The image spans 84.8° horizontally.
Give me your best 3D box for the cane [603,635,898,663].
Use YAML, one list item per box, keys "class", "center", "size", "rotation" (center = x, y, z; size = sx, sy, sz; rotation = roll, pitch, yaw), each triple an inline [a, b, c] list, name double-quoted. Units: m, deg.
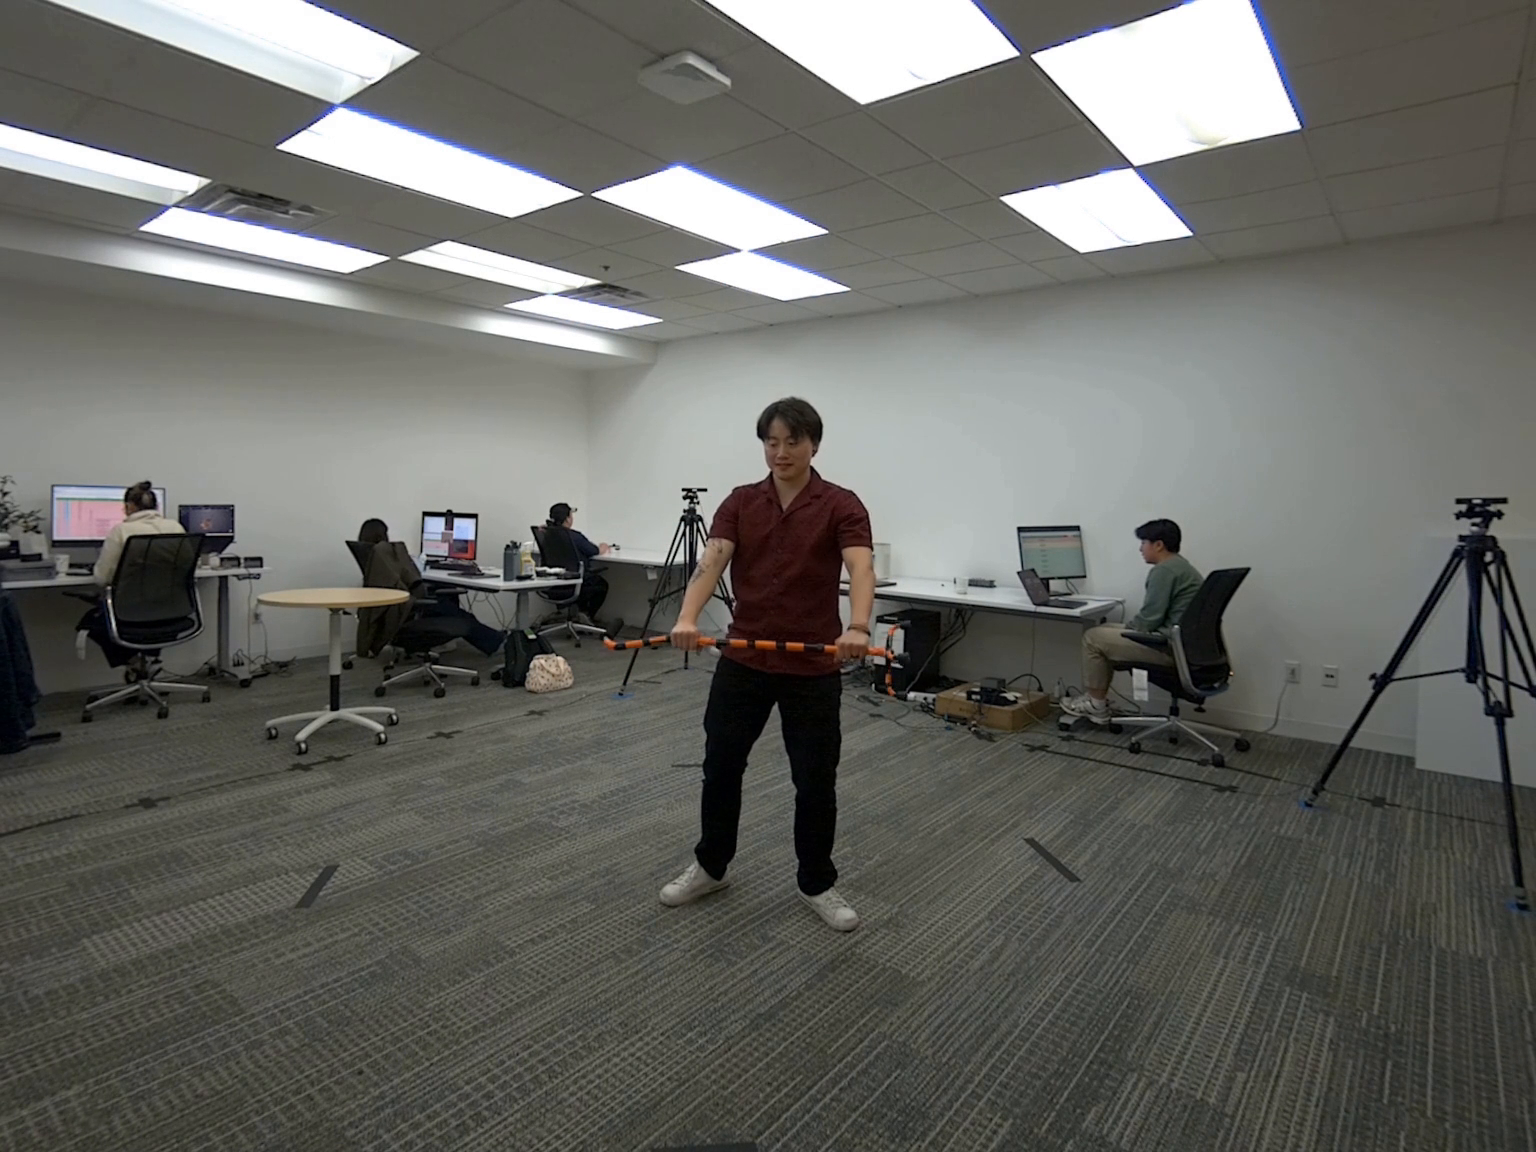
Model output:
- class: "cane"
  center: [-0.068, 0.203, 2.493]
  size: [0.921, 0.149, 0.207]
  rotation: [3, 21, 13]
